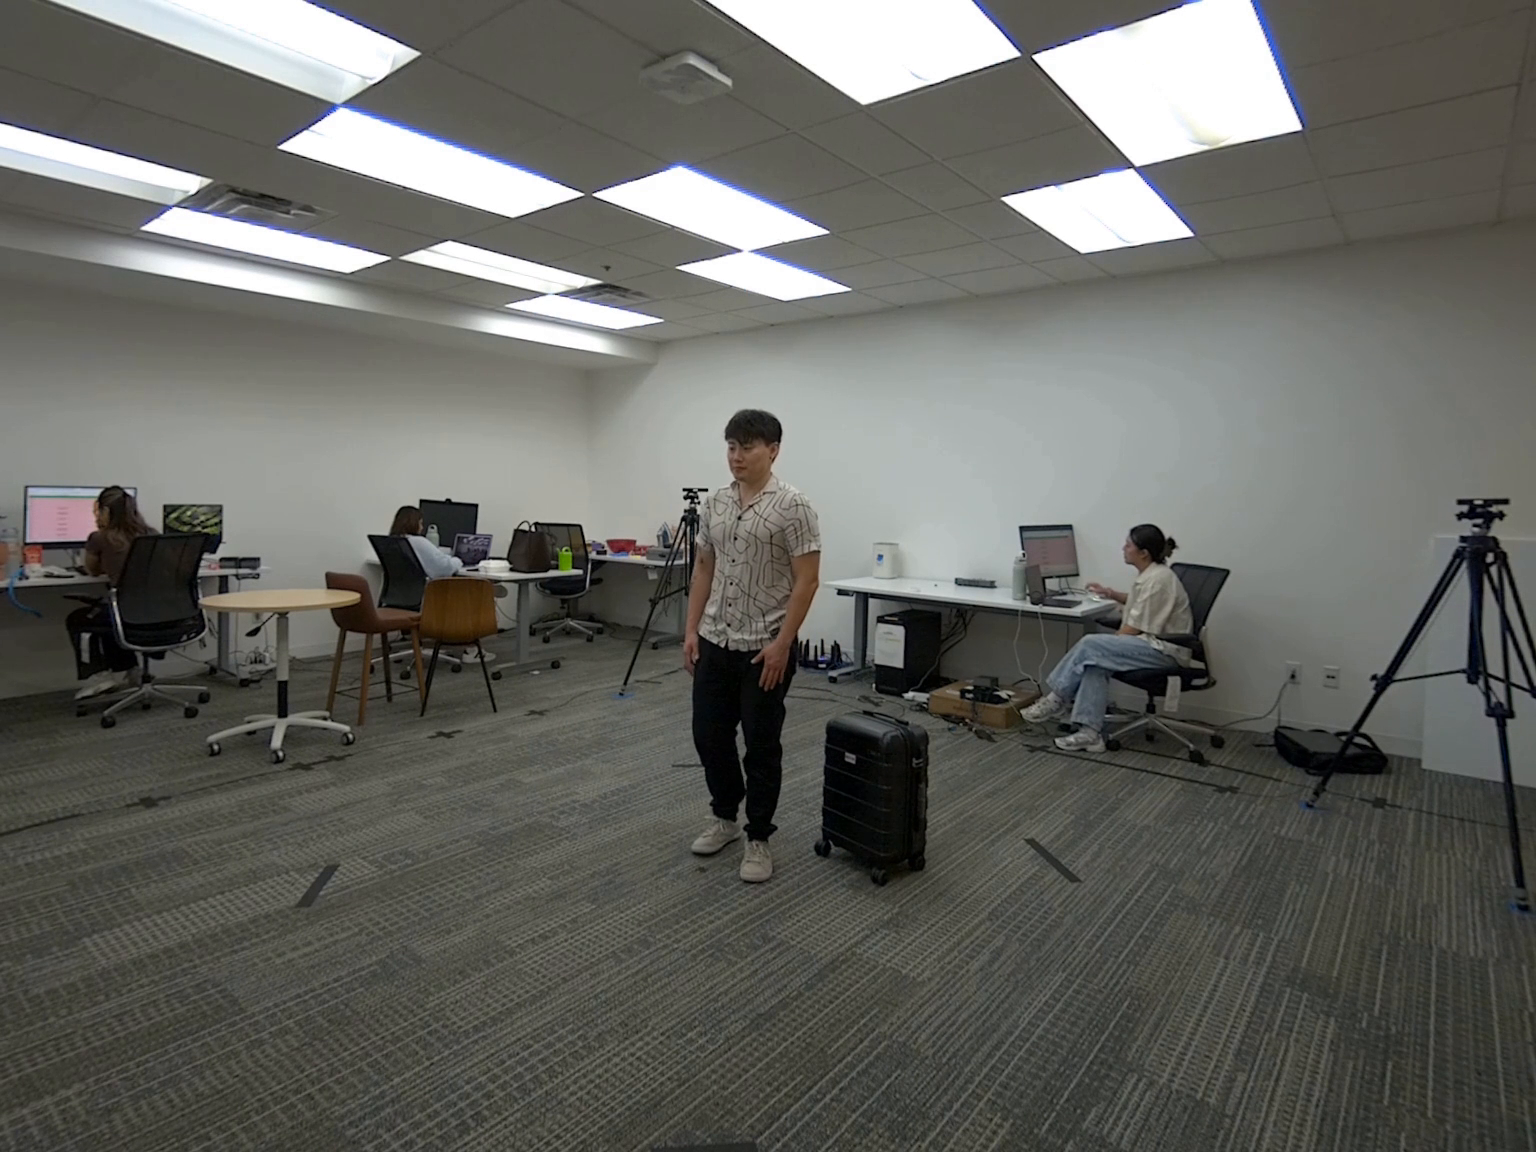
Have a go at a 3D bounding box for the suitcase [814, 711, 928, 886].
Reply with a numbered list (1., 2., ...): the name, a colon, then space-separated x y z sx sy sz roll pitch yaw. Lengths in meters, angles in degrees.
1. suitcase: 0.396 0.798 3.204 0.241 0.548 0.388 0 4 -38
